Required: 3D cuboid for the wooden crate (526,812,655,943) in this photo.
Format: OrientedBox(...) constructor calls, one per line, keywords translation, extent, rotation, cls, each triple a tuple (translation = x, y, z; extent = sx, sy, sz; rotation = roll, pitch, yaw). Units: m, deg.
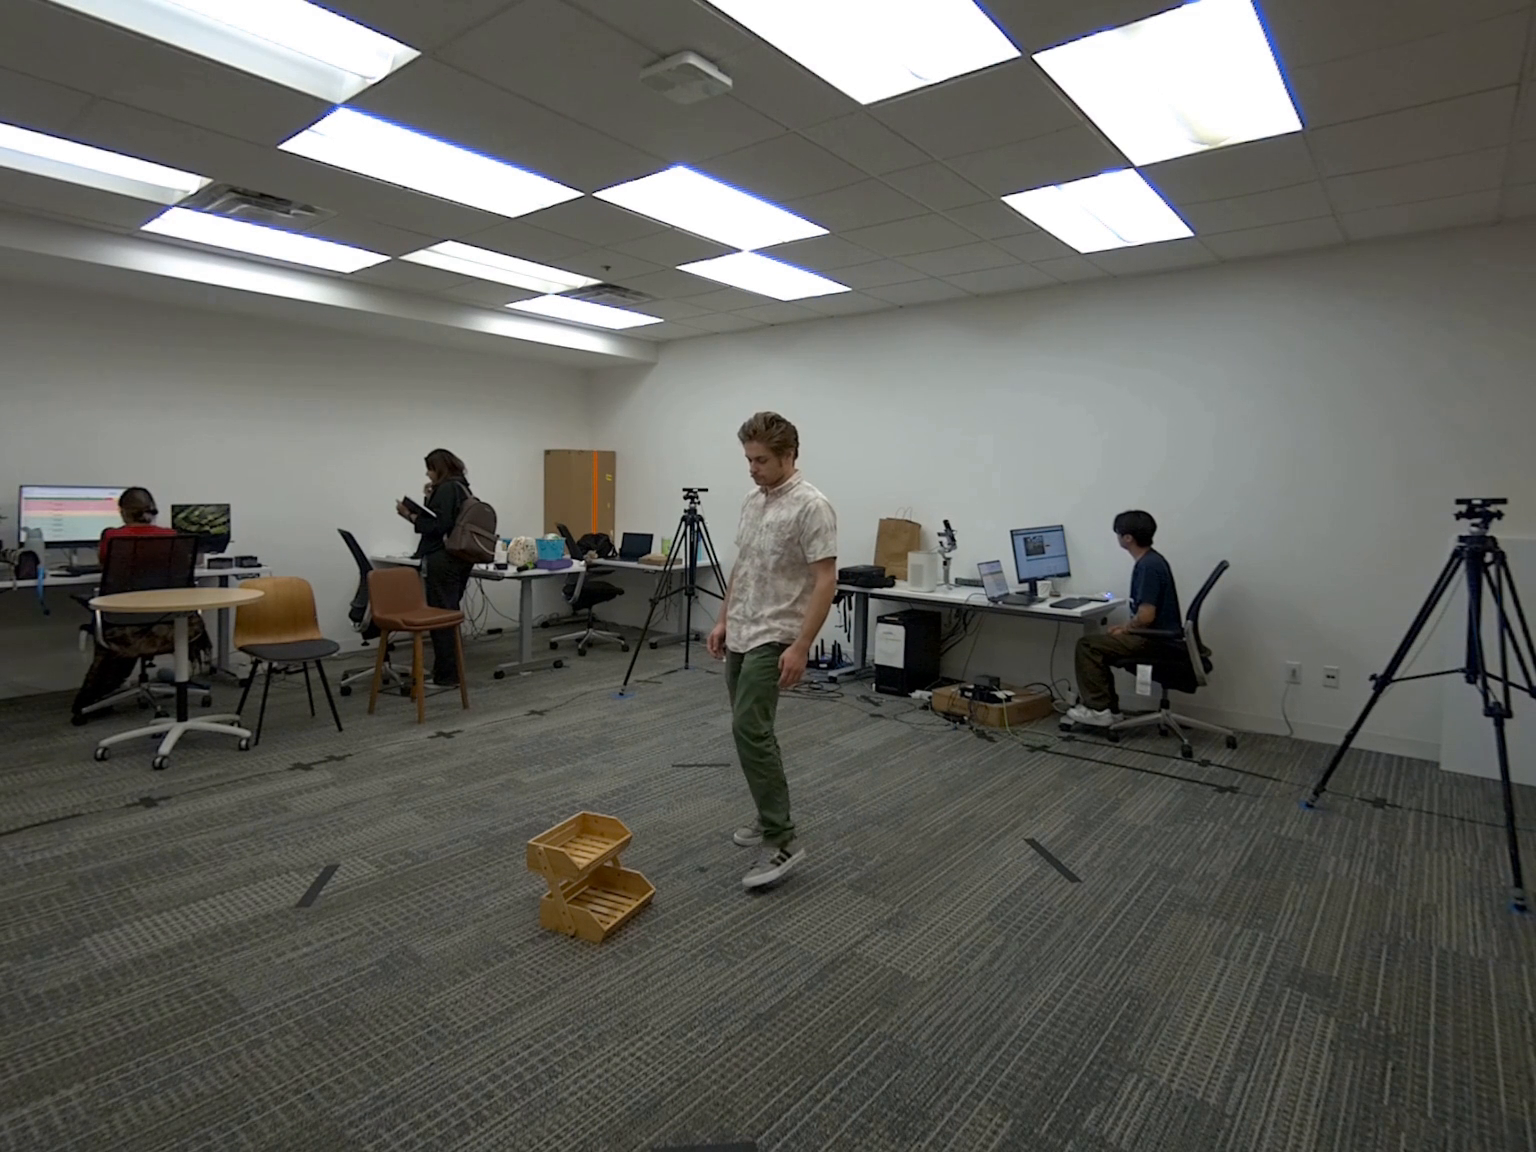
OrientedBox(translation=(-0.579, 0.963, 2.765), extent=(0.310, 0.272, 0.317), rotation=(2, 5, 25), cls="wooden crate")
